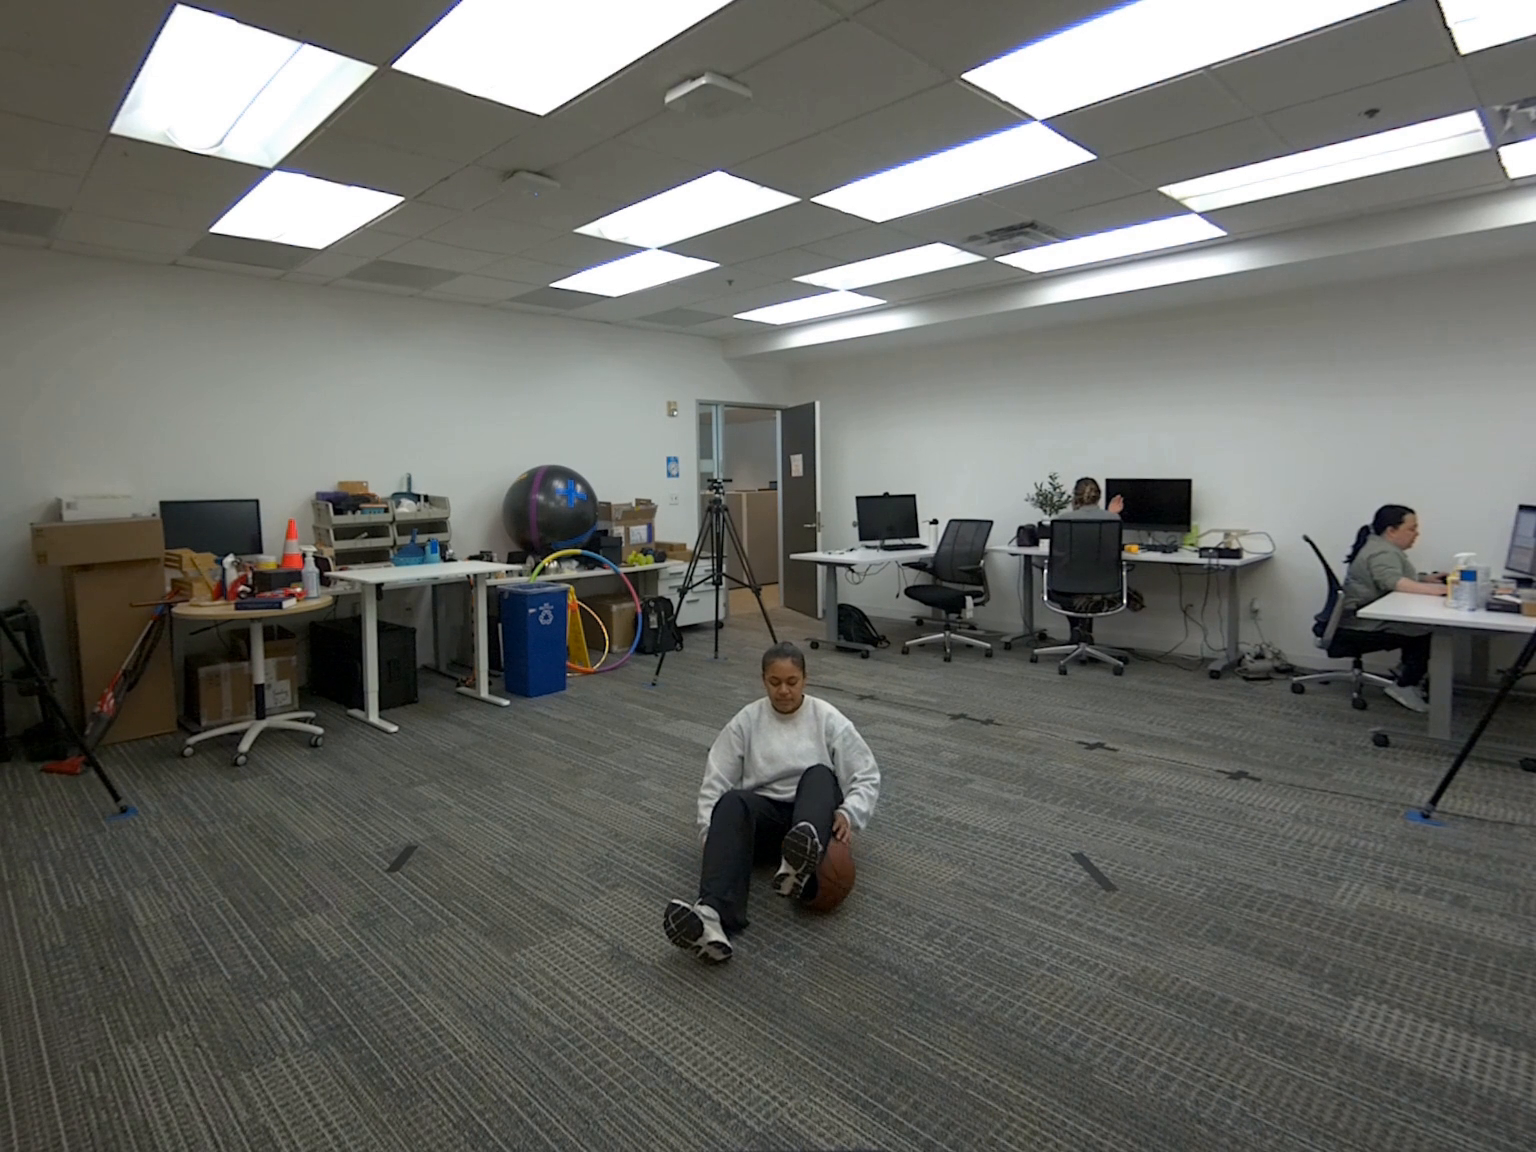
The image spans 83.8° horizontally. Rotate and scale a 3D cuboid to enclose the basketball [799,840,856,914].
[{"bbox_3d":[0.155,0.952,2.782,0.236,0.235,0.237,-1,5,-2],"label":"basketball"}]
